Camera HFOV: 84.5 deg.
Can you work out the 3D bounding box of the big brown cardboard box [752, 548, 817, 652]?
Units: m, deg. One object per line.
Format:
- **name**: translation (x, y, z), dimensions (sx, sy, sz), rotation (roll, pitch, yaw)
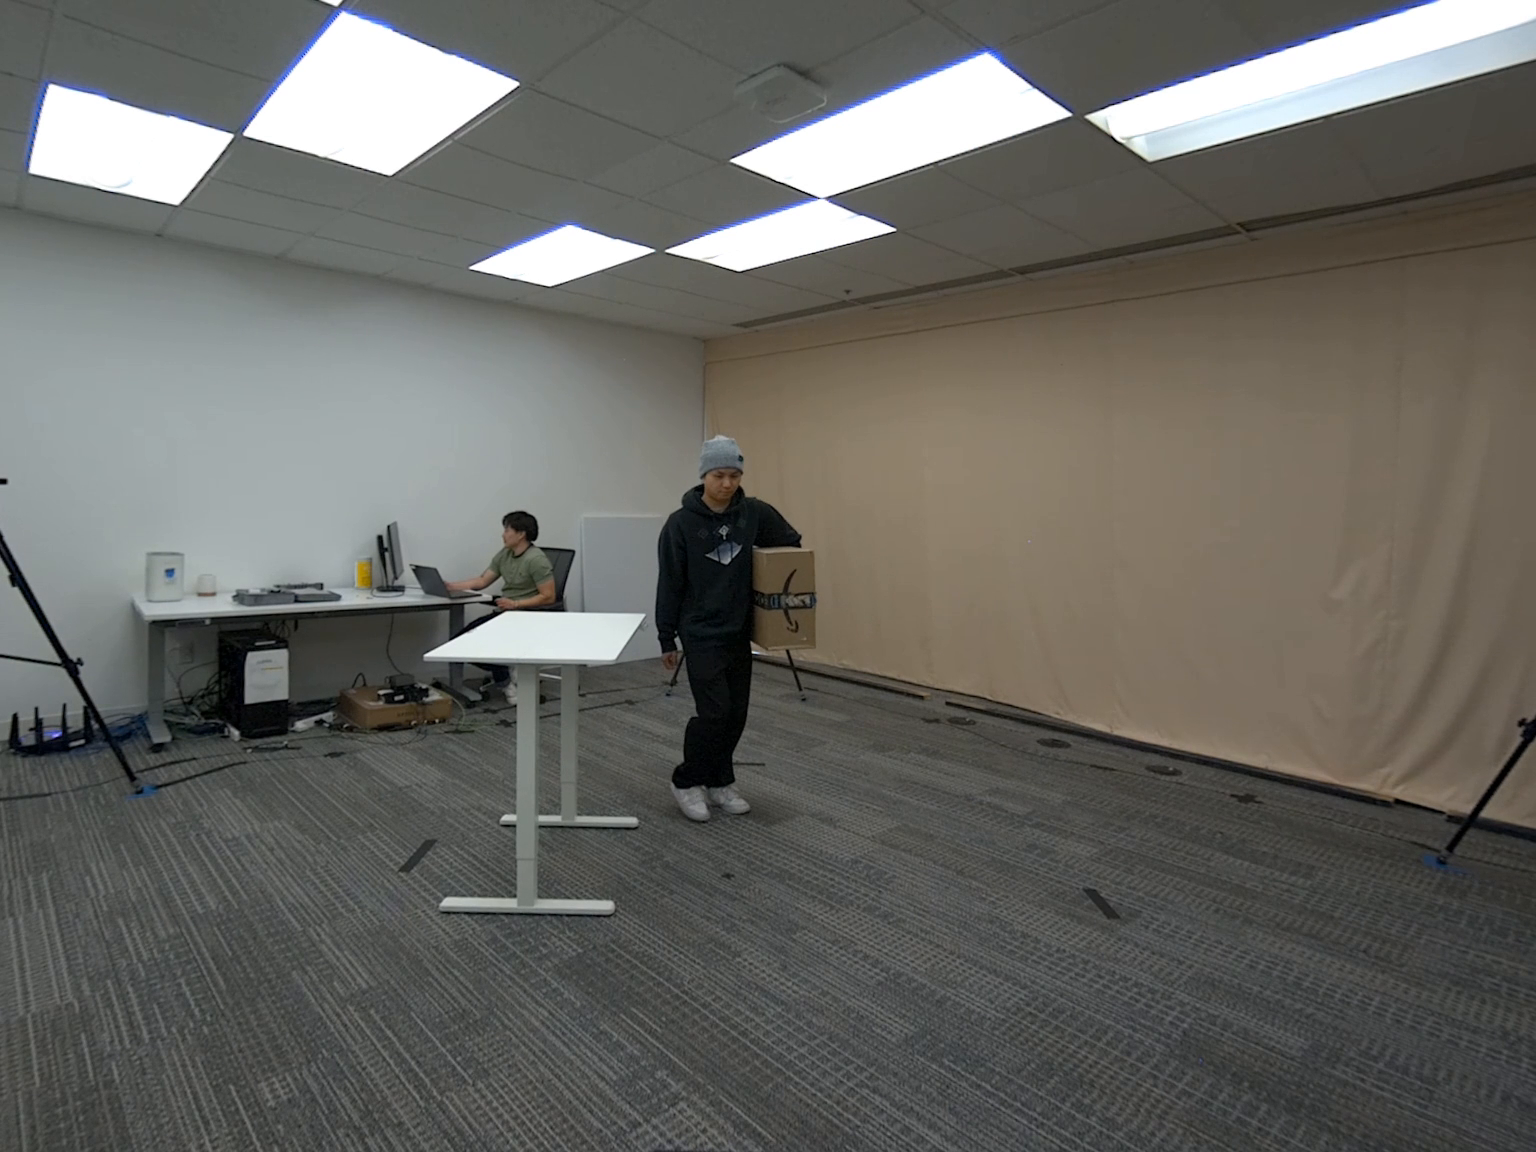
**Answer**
- **big brown cardboard box**: translation (0.022, 0.081, 3.790), dimensions (0.231, 0.416, 0.596), rotation (-1, 4, -14)
